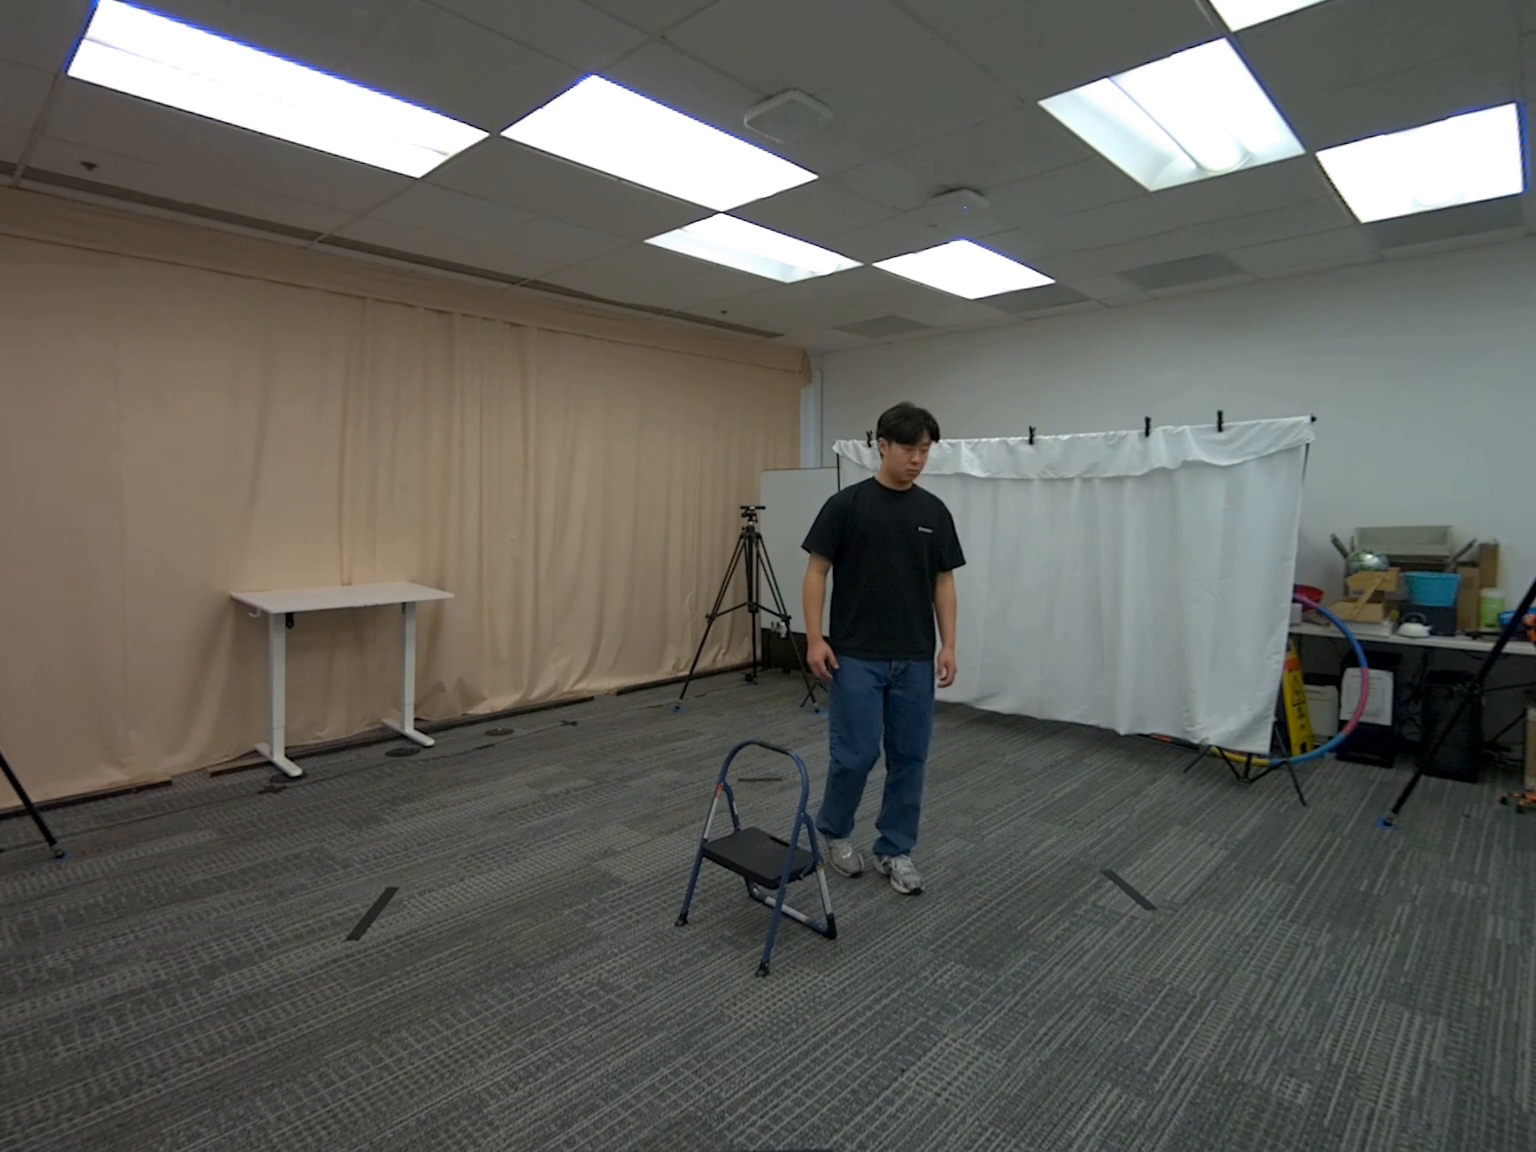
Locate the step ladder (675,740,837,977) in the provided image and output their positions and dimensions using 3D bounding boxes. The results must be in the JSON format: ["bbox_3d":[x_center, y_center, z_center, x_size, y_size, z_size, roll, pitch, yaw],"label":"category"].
[{"bbox_3d":[-0.034,0.858,2.740,0.338,0.605,0.445,-3,5,-42],"label":"step ladder"}]
